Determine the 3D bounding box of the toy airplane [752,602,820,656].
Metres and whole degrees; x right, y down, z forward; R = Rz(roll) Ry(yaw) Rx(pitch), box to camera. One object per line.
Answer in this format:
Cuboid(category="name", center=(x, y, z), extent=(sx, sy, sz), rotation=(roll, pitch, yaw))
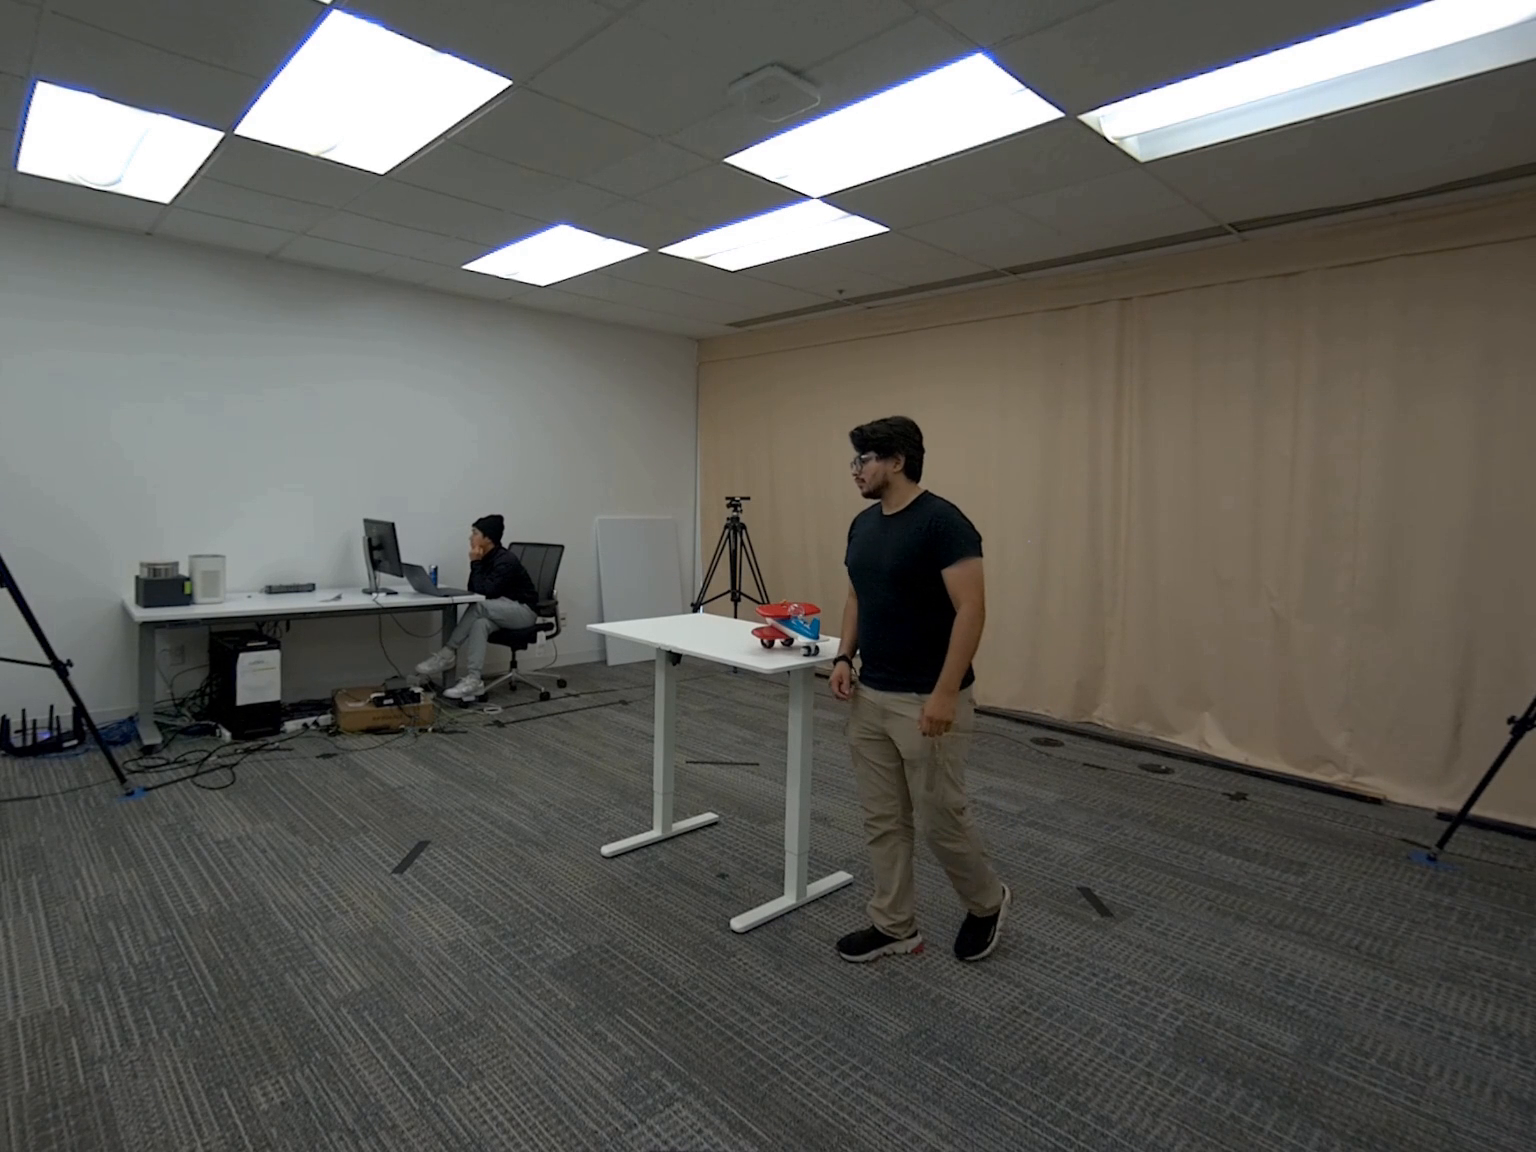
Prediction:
Cuboid(category="toy airplane", center=(0.088, 0.177, 2.848), extent=(0.264, 0.156, 0.247), rotation=(2, 6, 26))
